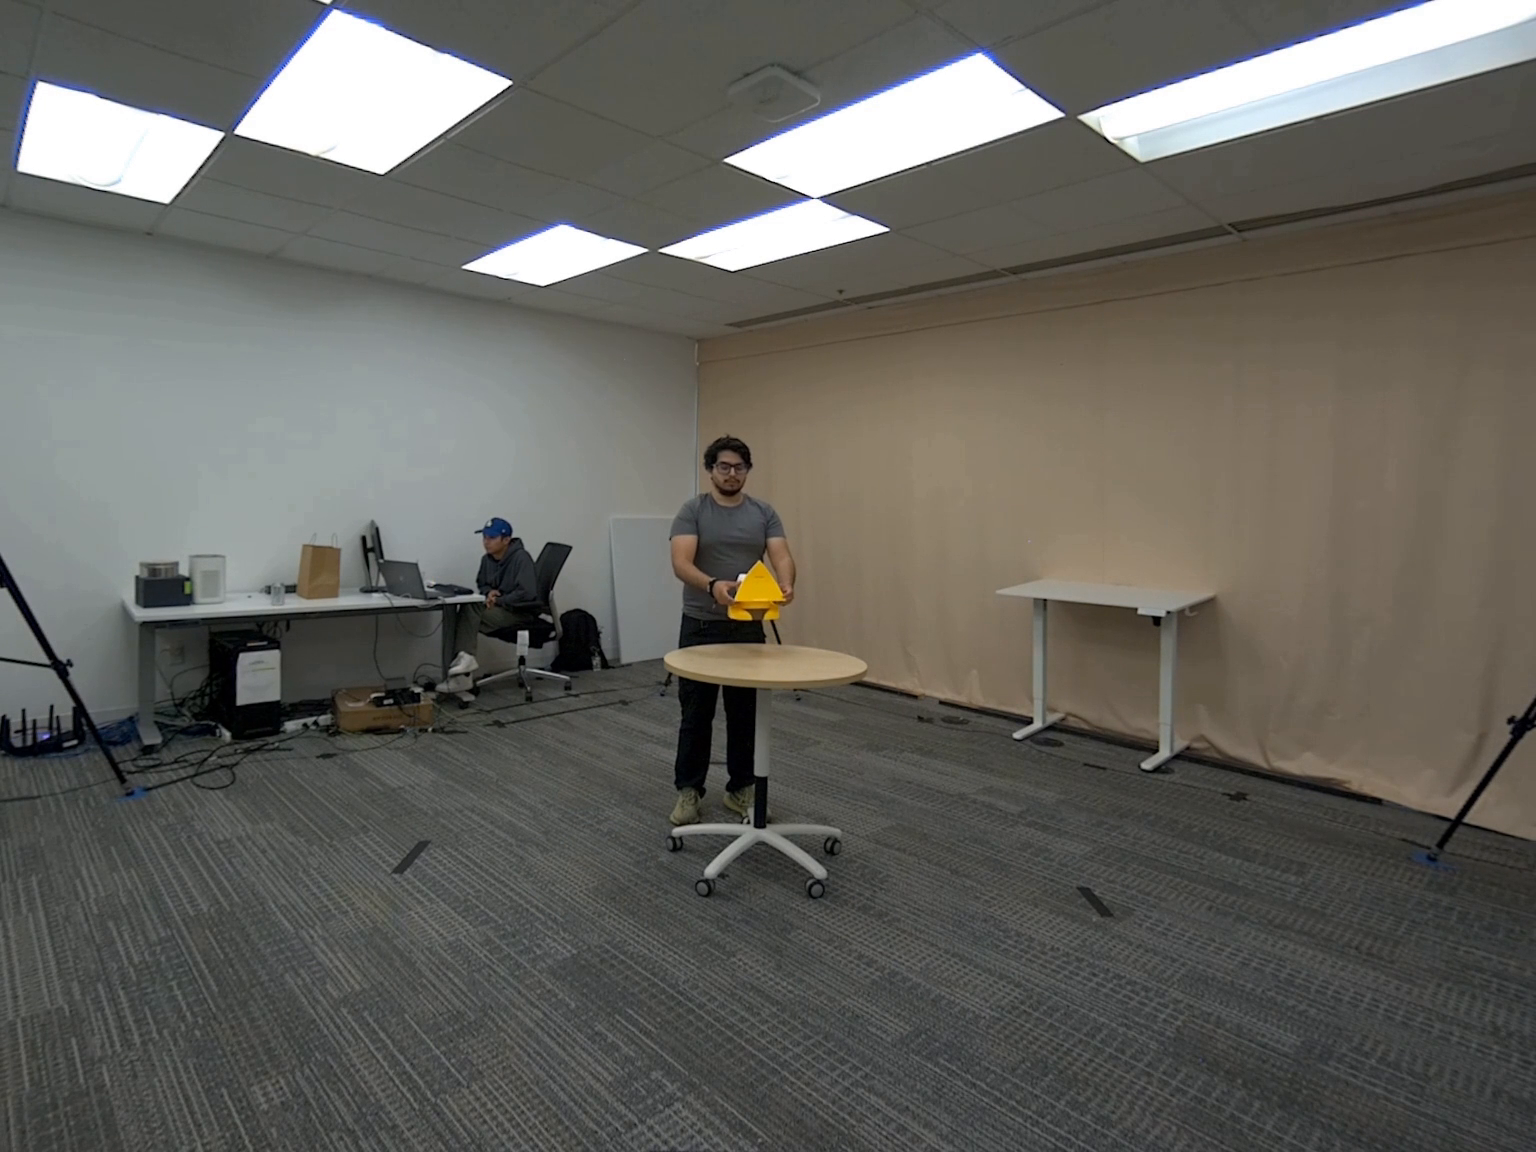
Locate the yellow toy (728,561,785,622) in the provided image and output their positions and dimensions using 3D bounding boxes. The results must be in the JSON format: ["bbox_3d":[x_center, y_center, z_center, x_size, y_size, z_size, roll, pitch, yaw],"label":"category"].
[{"bbox_3d":[-0.066,0.045,3.295,0.203,0.229,0.196,0,9,-14],"label":"yellow toy"}]
